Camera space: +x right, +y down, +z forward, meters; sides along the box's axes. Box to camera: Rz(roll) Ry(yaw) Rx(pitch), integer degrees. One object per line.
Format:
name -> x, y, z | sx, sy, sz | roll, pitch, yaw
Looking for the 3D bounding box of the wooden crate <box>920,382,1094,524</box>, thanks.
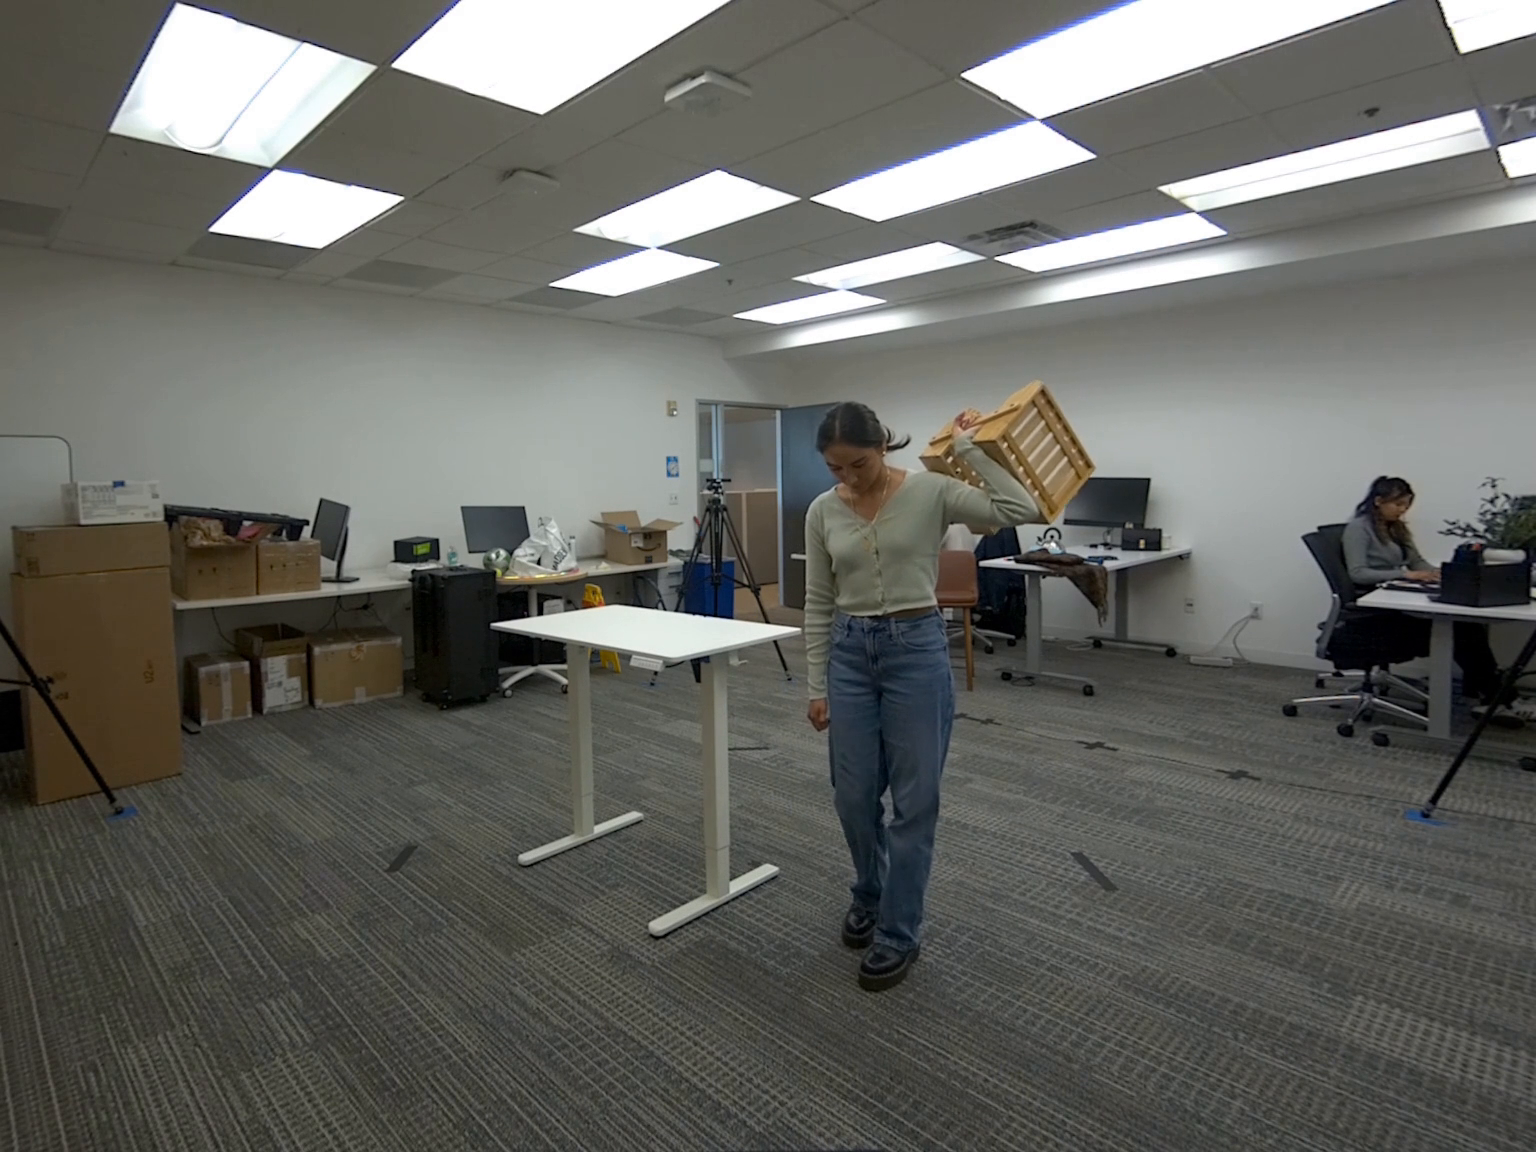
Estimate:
wooden crate -> 0.667, -0.325, 2.398 | 0.302, 0.317, 0.280 | -46, 21, -18
